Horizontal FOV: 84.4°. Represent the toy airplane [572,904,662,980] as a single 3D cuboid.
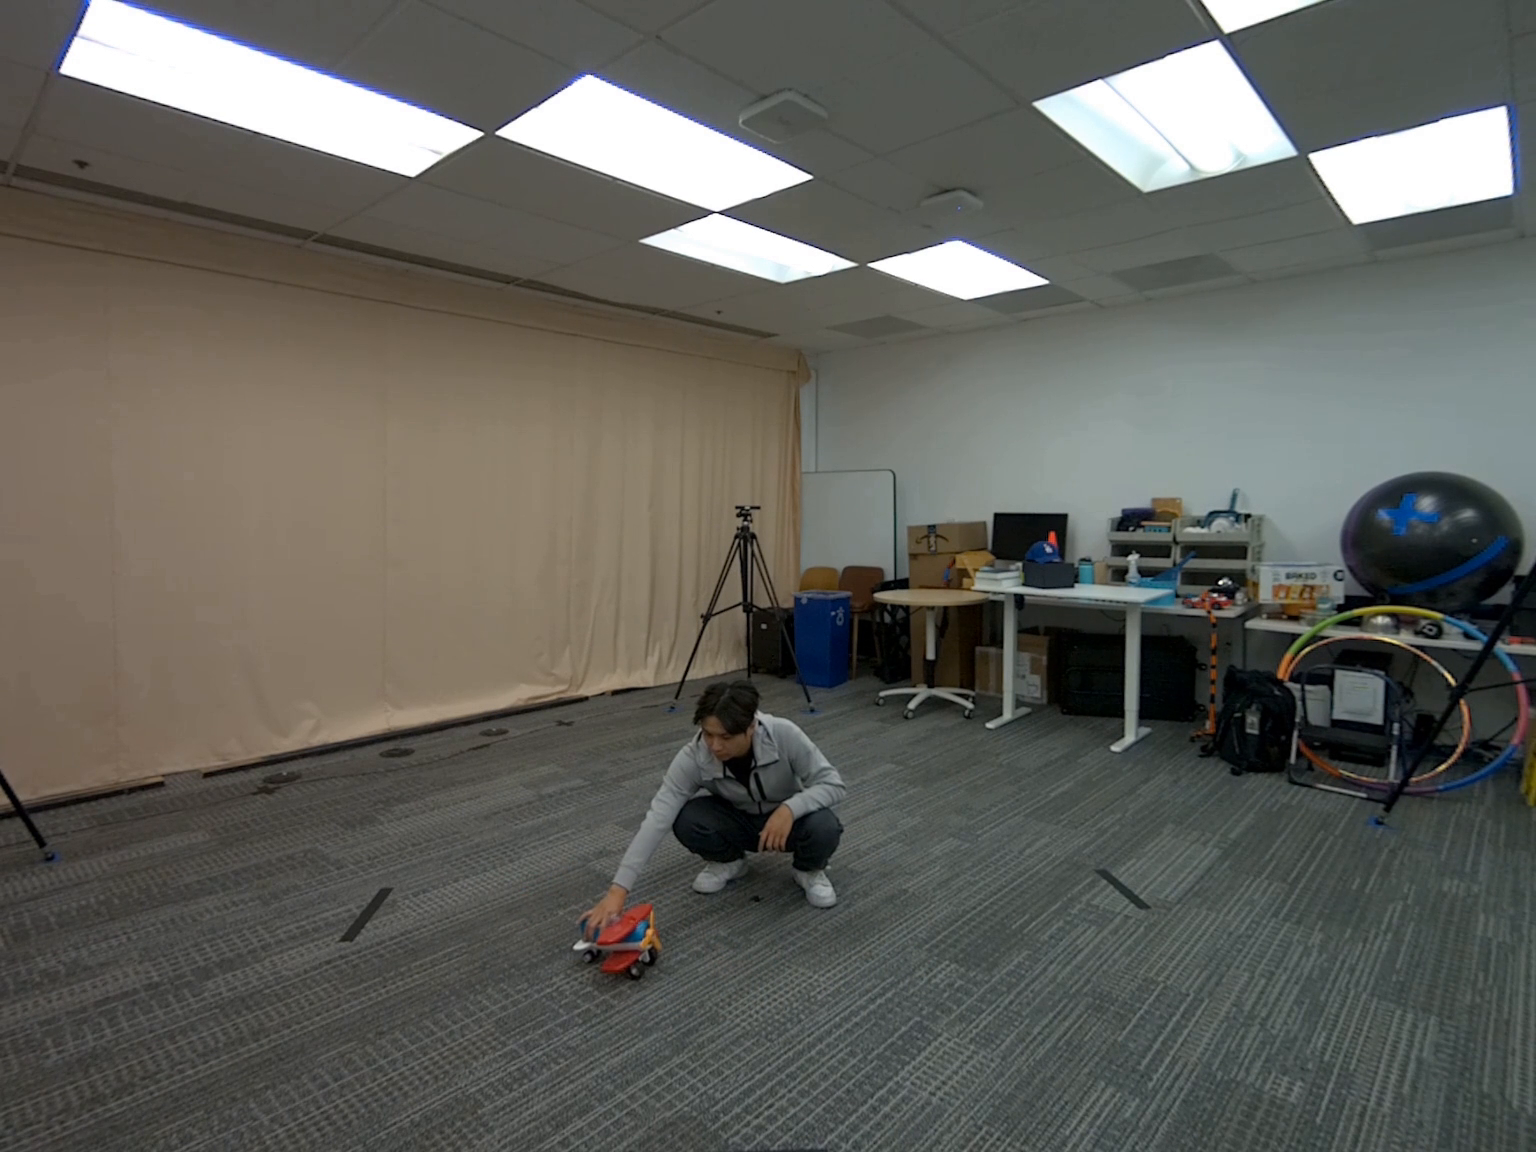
[{"bbox_3d":[-0.463,1.113,2.529,0.258,0.156,0.253,1,5,-5],"label":"toy airplane"}]
